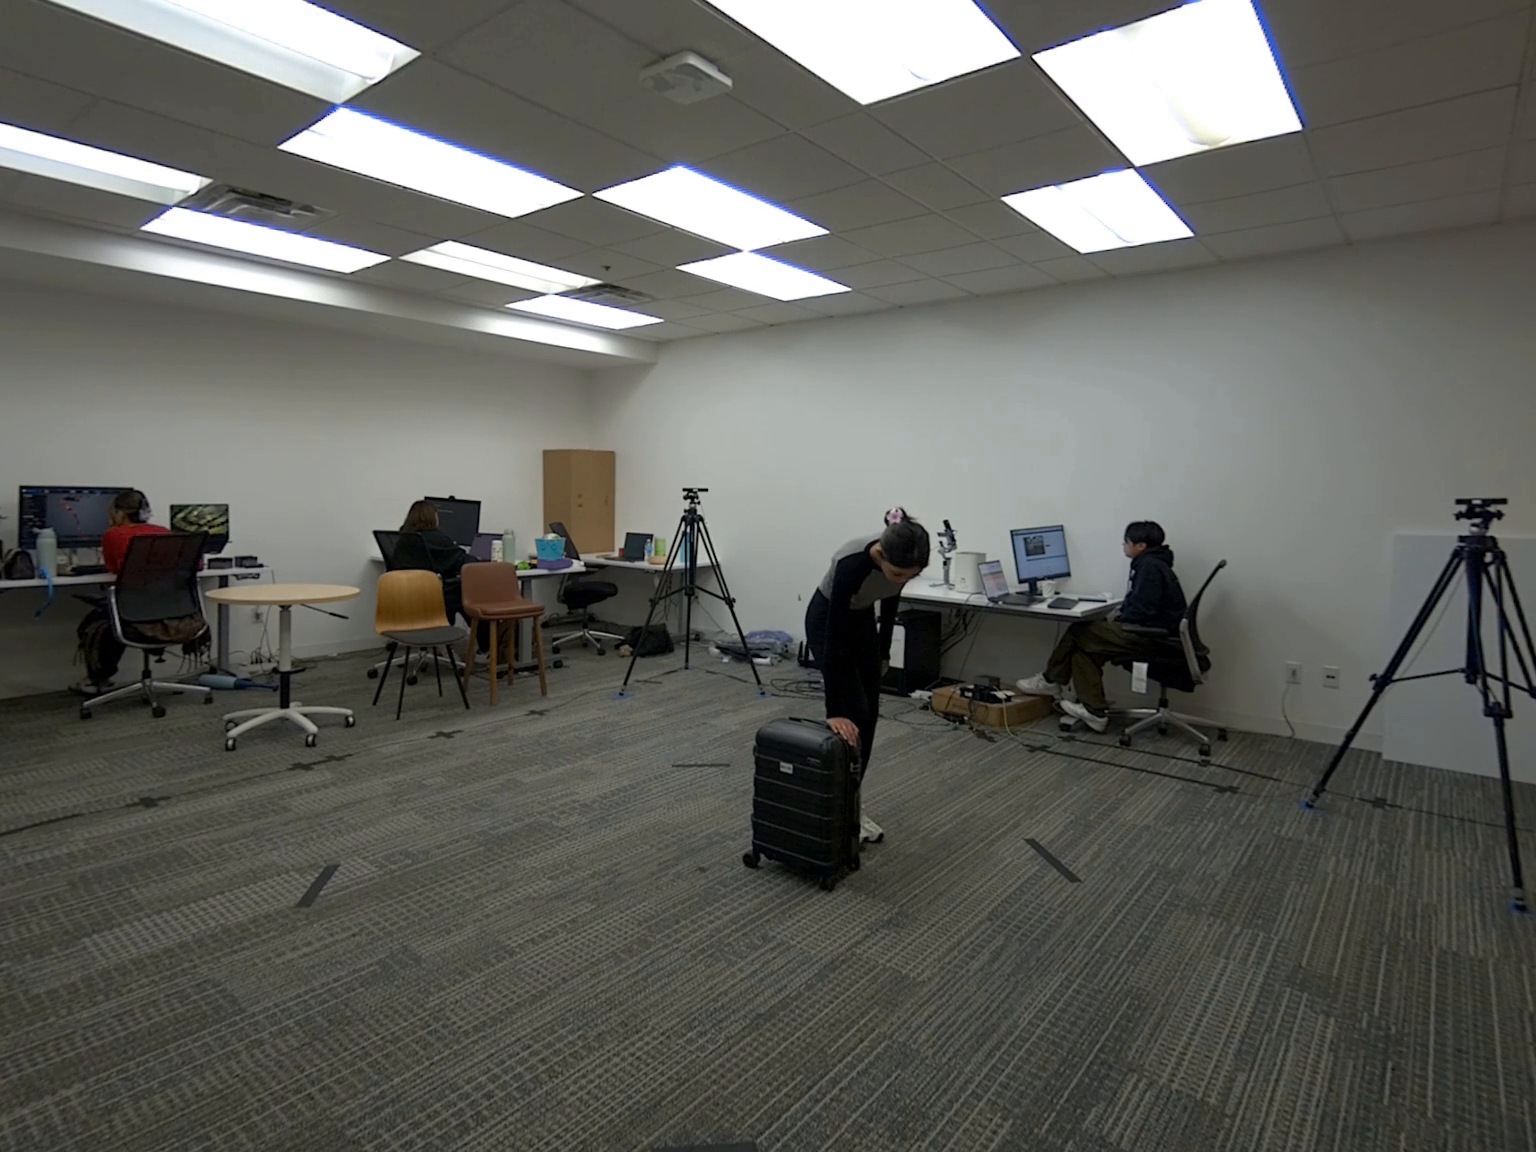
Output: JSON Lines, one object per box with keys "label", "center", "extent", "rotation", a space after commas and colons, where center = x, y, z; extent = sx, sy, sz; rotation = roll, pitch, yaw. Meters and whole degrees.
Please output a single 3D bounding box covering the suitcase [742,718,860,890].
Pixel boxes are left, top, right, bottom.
{"label": "suitcase", "center": [0.135, 0.801, 3.111], "extent": [0.388, 0.547, 0.241], "rotation": [6, 6, 36]}
